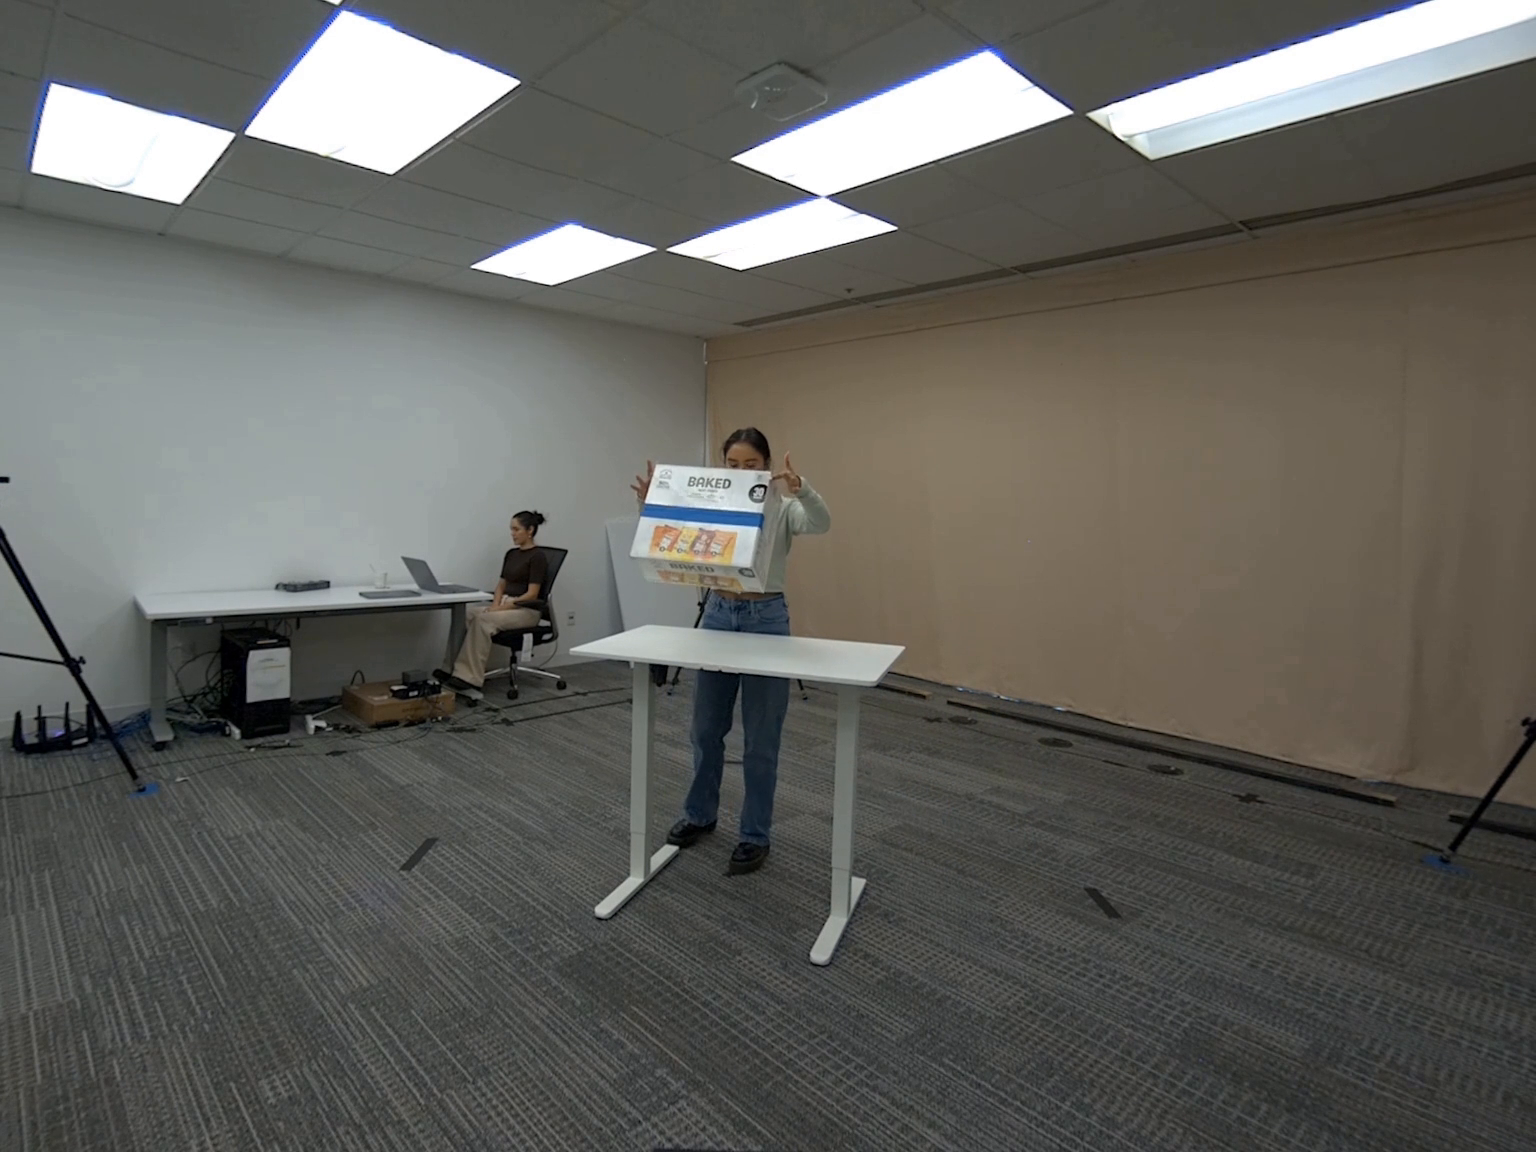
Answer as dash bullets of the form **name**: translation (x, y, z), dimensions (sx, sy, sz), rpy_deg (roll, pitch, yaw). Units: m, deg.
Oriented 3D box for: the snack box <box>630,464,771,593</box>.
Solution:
- **snack box**: translation (-0.205, -0.159, 2.747), dimensions (0.411, 0.344, 0.200), rpy_deg (7, -24, 16)
